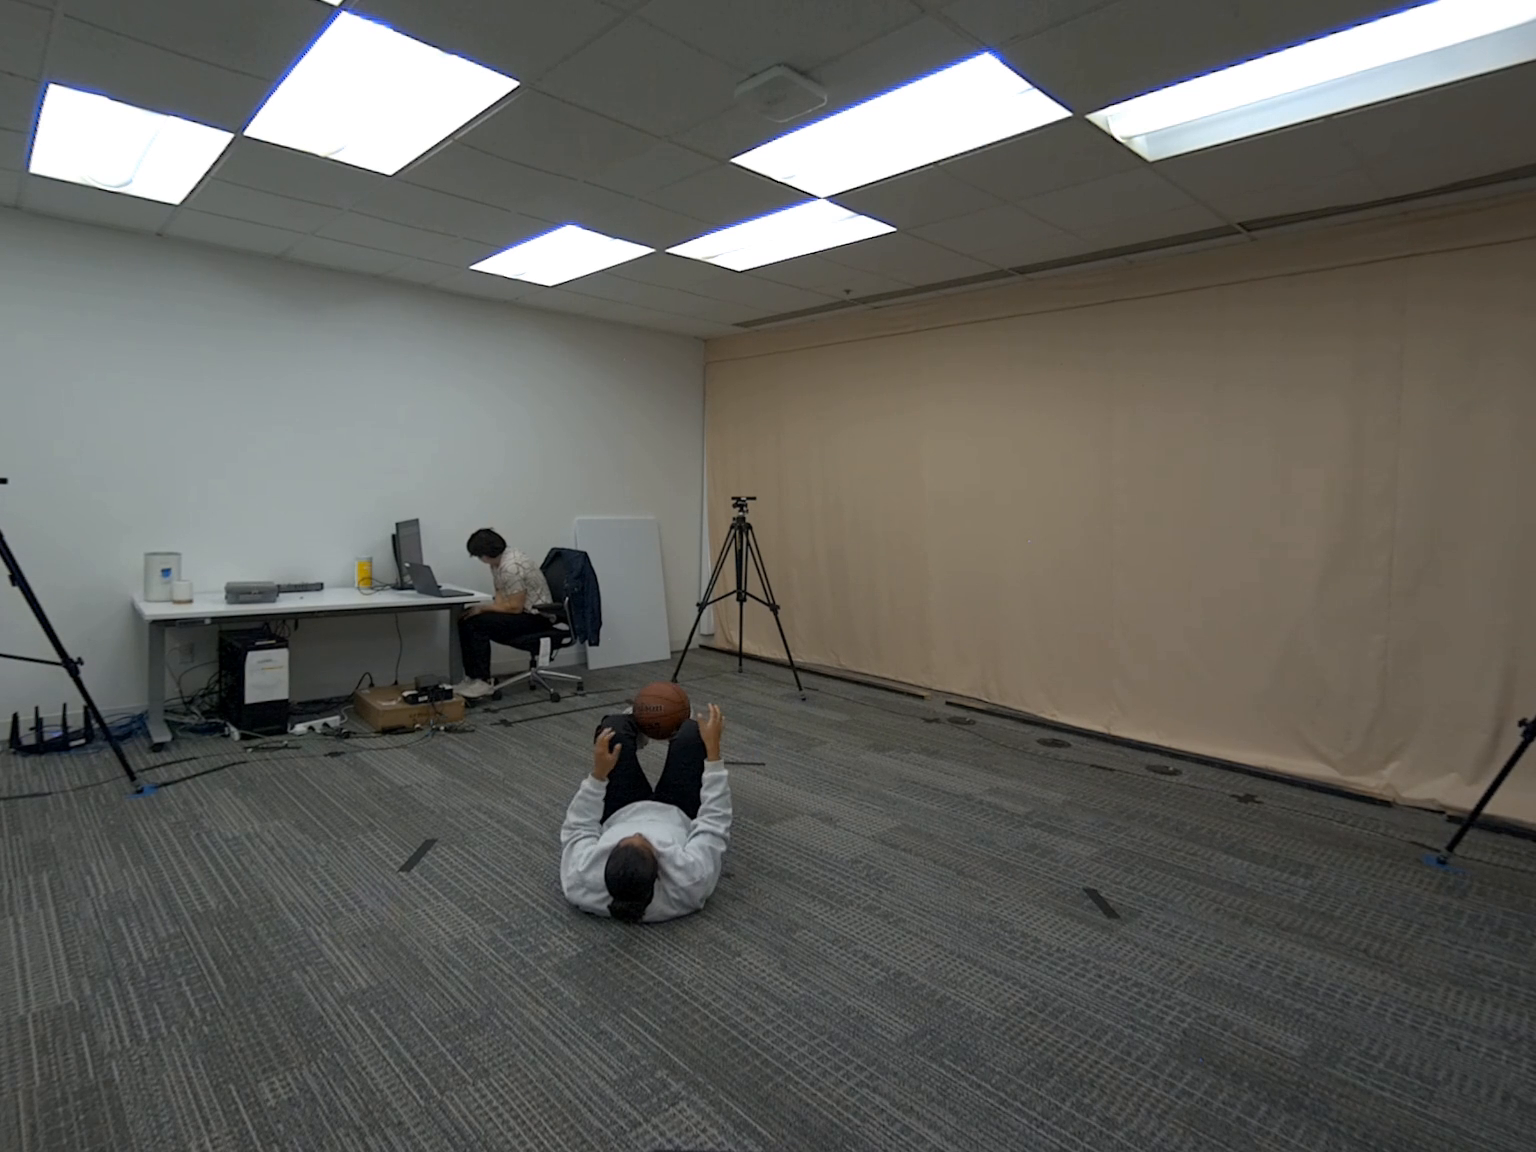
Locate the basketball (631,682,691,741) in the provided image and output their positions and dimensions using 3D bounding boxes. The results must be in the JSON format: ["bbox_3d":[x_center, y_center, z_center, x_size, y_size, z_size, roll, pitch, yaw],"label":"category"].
[{"bbox_3d":[-0.442,0.546,3.430,0.236,0.235,0.237,1,4,-1],"label":"basketball"}]
